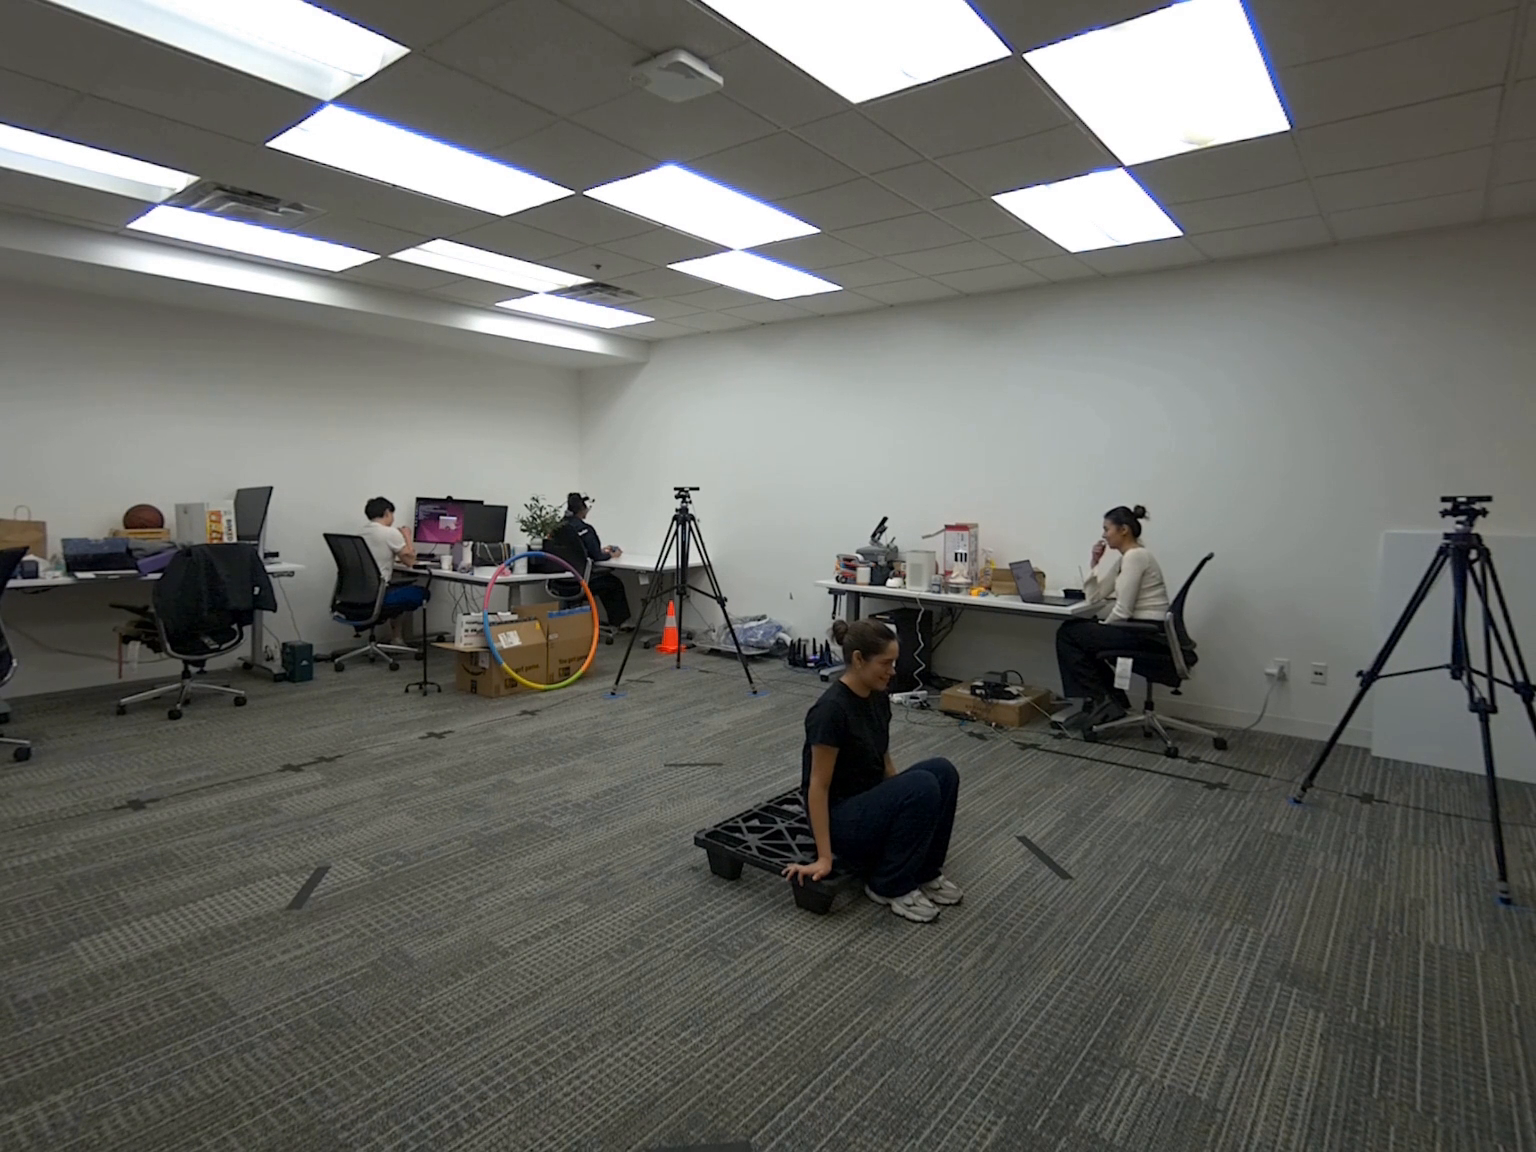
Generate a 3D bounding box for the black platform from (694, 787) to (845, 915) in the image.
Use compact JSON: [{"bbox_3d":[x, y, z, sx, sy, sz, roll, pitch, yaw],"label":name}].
[{"bbox_3d":[0.202,0.996,3.212,0.625,0.143,0.782,5,6,38],"label":"black platform"}]
